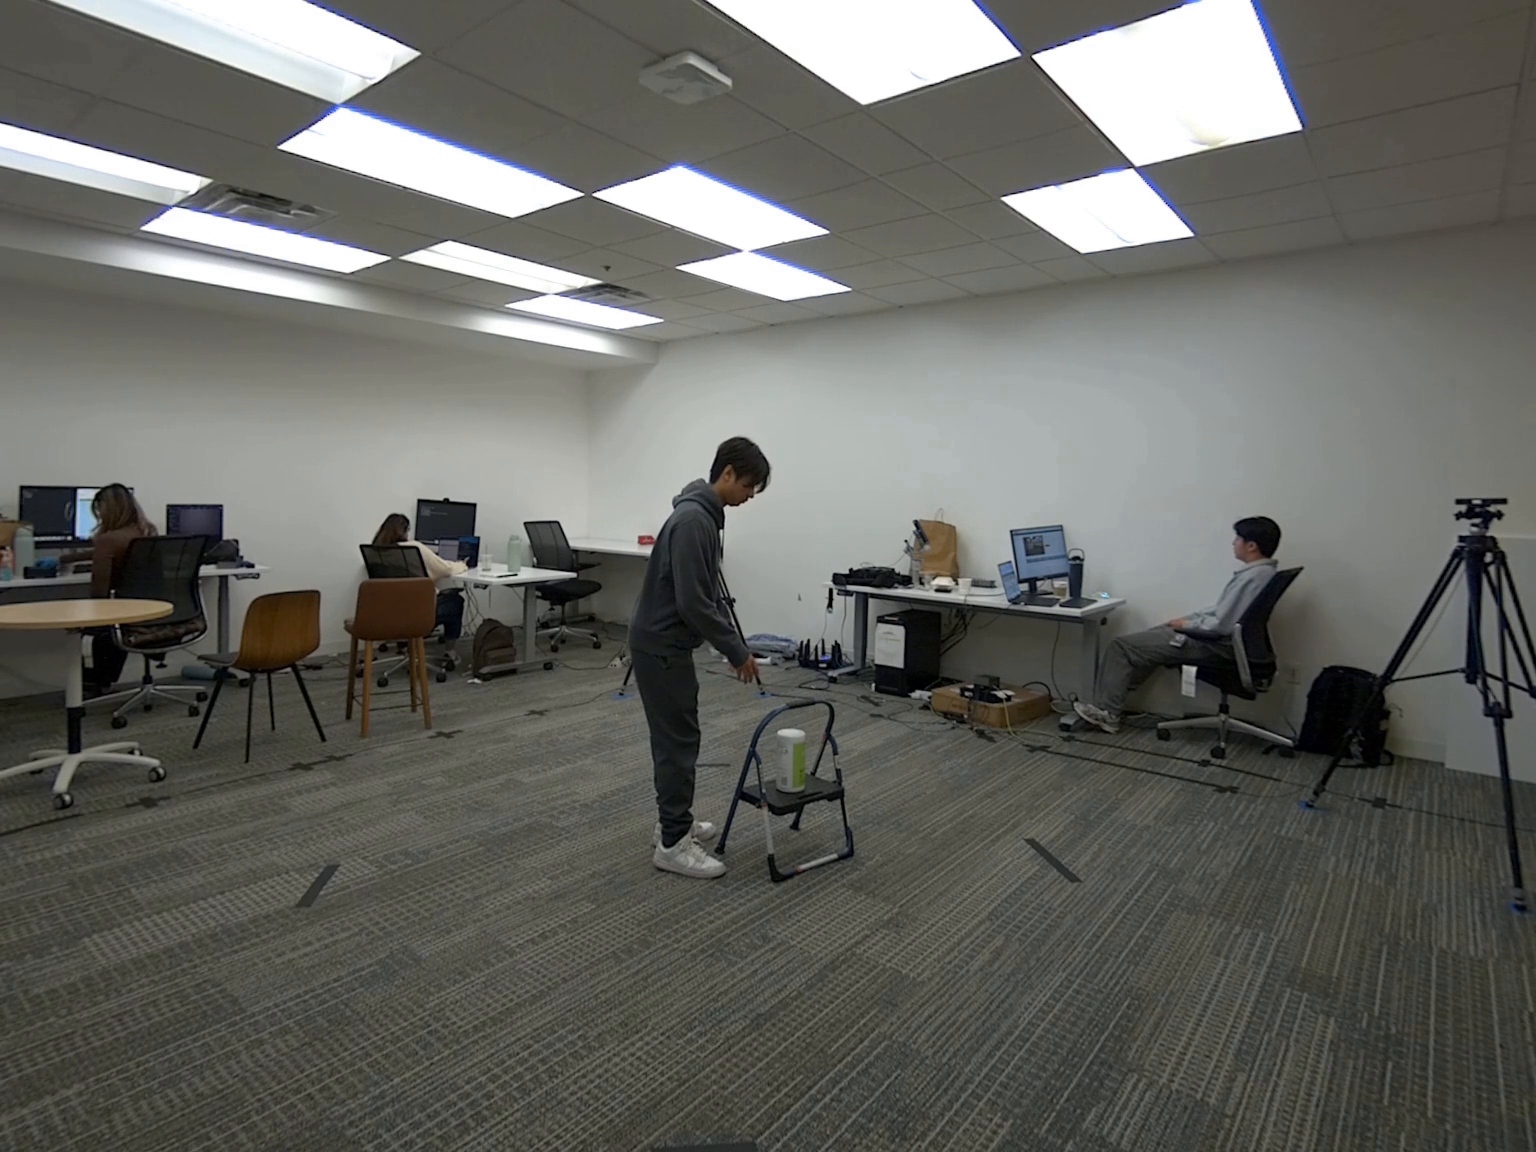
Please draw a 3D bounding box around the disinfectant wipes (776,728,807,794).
[{"bbox_3d":[0.080,0.700,3.223,0.117,0.217,0.118,2,4,-2],"label":"disinfectant wipes"}]
